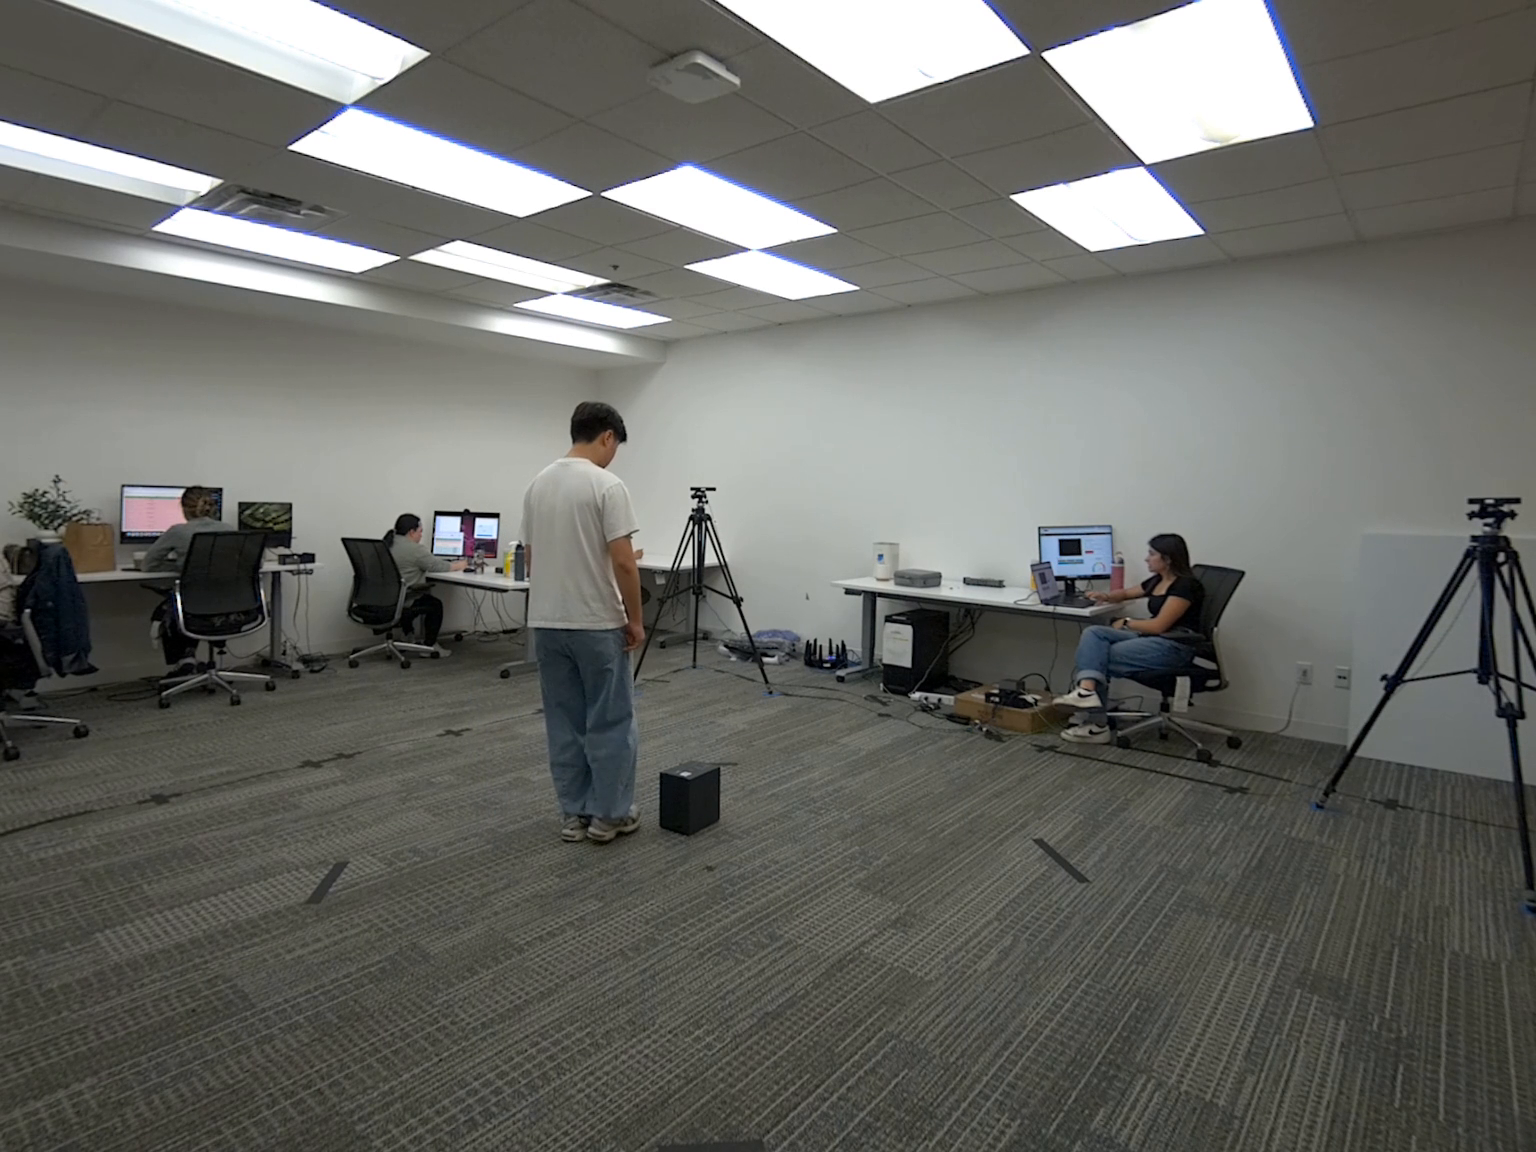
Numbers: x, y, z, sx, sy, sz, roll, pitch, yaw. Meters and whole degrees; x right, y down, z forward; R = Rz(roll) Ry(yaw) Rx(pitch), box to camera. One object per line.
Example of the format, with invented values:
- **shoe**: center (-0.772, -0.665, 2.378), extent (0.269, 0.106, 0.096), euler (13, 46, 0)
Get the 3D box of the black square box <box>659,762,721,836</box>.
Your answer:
- **black square box**: center (-0.330, 0.906, 3.509), extent (0.161, 0.227, 0.211), euler (4, 5, 33)
